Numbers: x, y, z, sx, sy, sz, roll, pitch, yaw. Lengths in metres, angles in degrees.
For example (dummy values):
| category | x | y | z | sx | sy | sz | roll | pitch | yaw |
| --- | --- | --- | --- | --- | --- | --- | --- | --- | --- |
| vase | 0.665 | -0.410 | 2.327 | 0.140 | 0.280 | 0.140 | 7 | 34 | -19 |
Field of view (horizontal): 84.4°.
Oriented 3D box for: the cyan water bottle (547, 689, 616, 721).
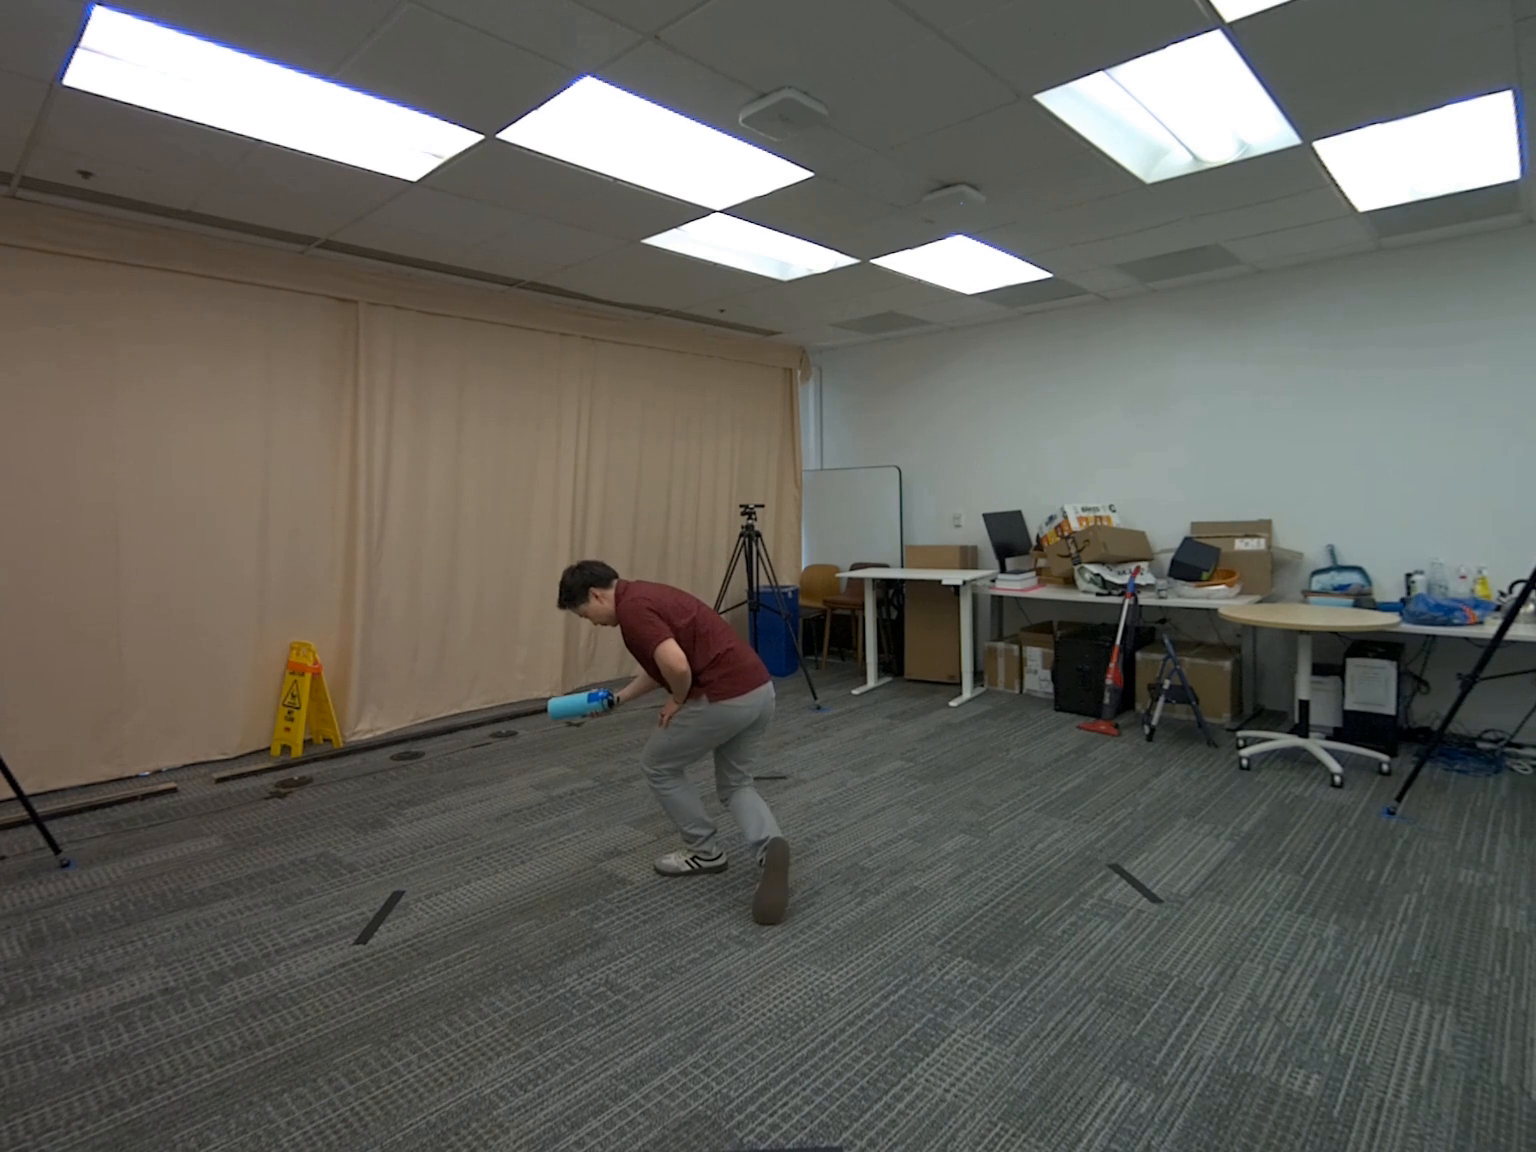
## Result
| category | x | y | z | sx | sy | sz | roll | pitch | yaw |
| --- | --- | --- | --- | --- | --- | --- | --- | --- | --- |
| cyan water bottle | -0.728 | 0.511 | 3.379 | 0.288 | 0.092 | 0.091 | -10 | 1 | 16 |
